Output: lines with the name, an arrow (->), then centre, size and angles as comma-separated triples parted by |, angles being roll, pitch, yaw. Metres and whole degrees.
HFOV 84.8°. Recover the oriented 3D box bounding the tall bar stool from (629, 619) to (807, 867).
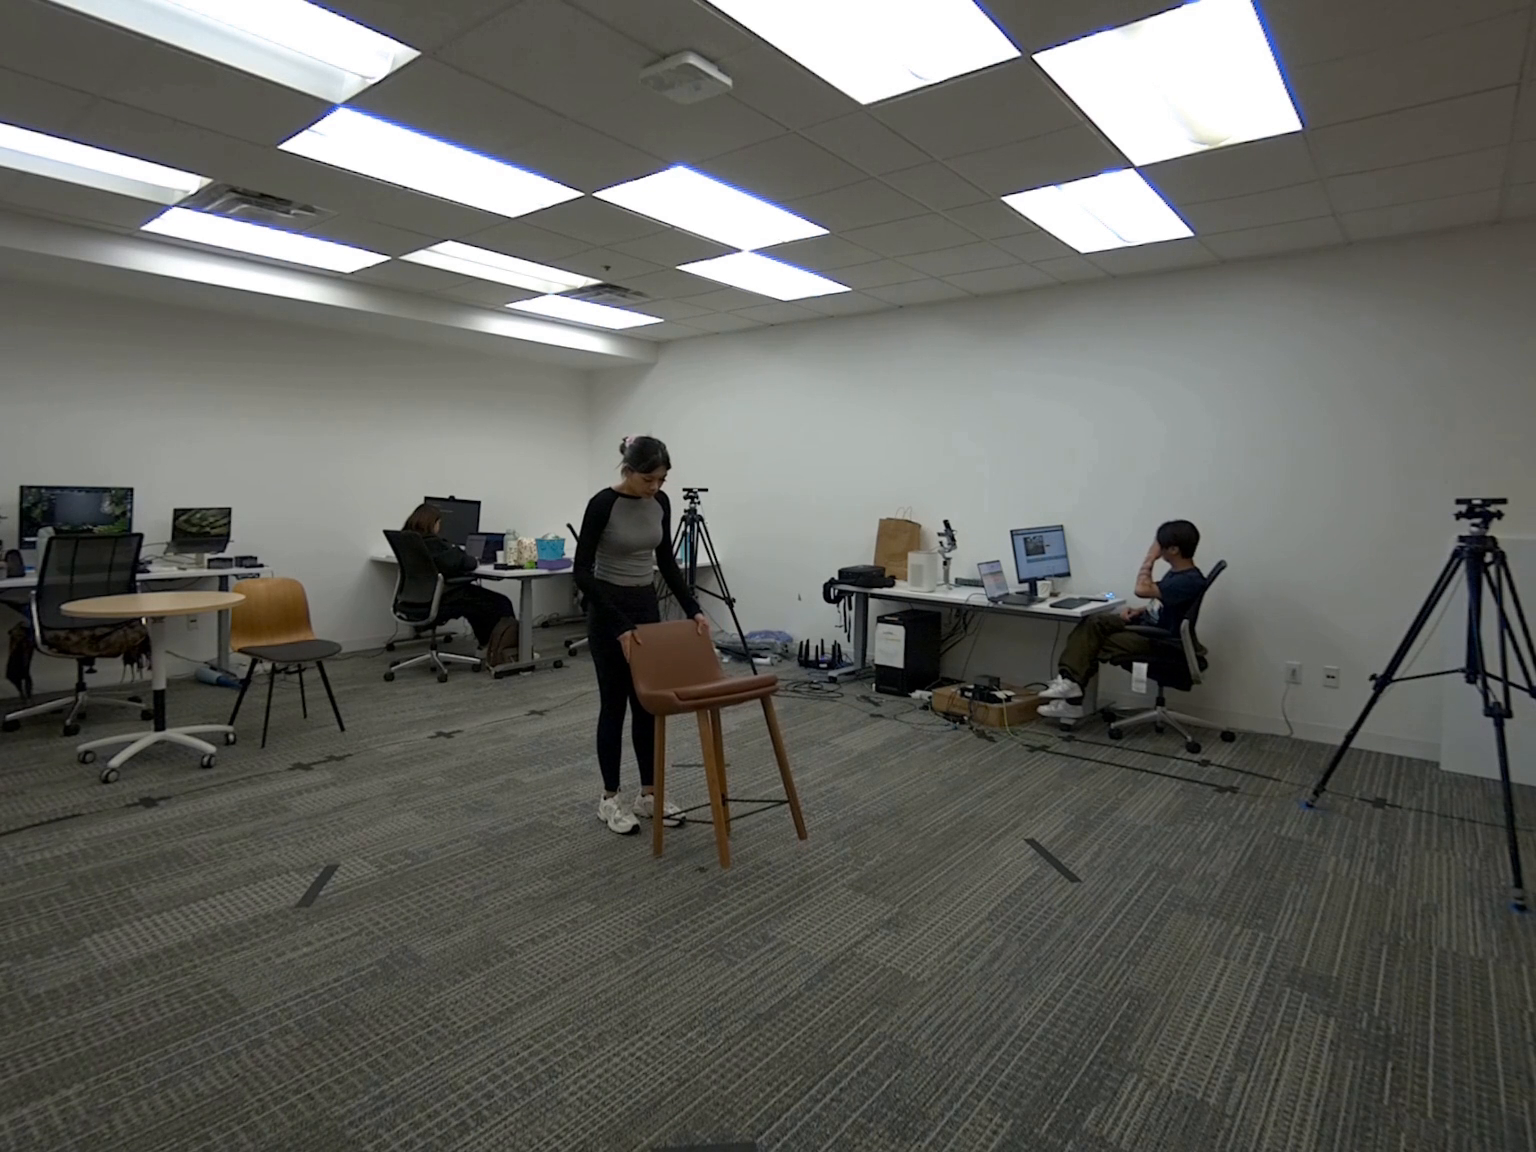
tall bar stool -> -0.229, 0.584, 3.237 | 0.443, 0.899, 0.477 | -2, -12, -42
